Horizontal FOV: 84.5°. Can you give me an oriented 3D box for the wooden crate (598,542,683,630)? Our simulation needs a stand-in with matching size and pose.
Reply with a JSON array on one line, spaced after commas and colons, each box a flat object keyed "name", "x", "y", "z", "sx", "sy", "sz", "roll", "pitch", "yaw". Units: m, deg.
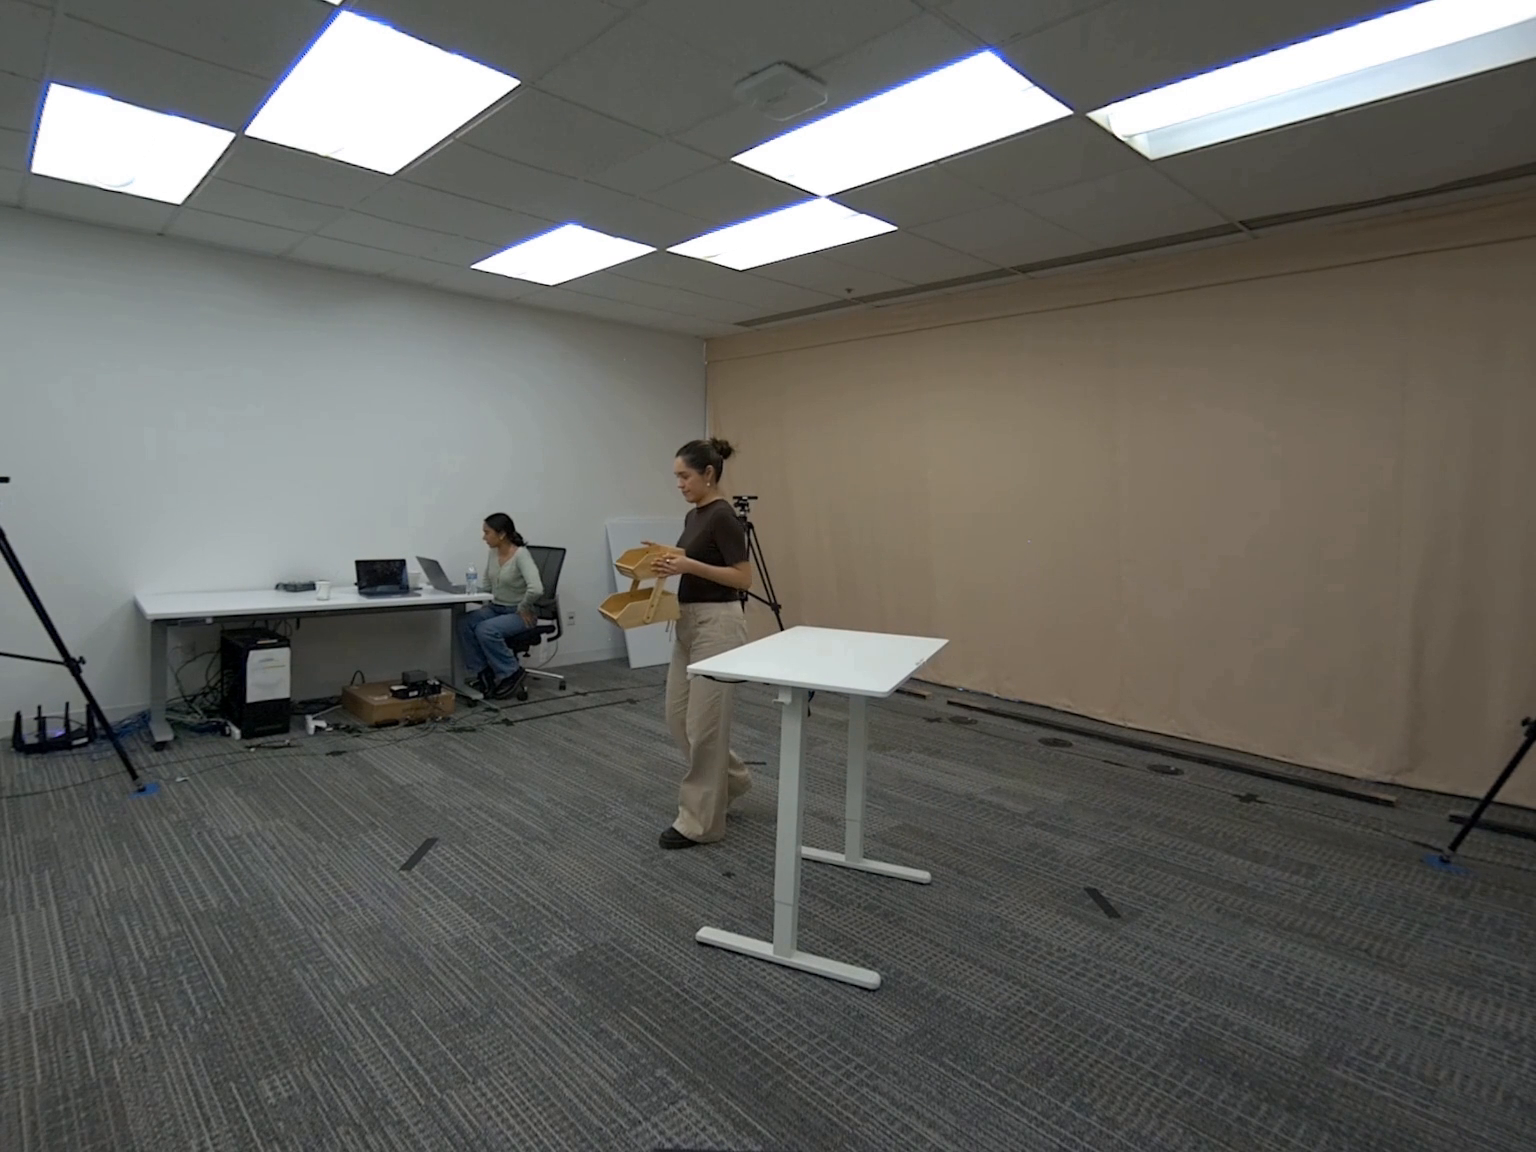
[{"name": "wooden crate", "x": -0.507, "y": 0.035, "z": 3.298, "sx": 0.298, "sy": 0.271, "sz": 0.331, "roll": -10, "pitch": 9, "yaw": -22}]
